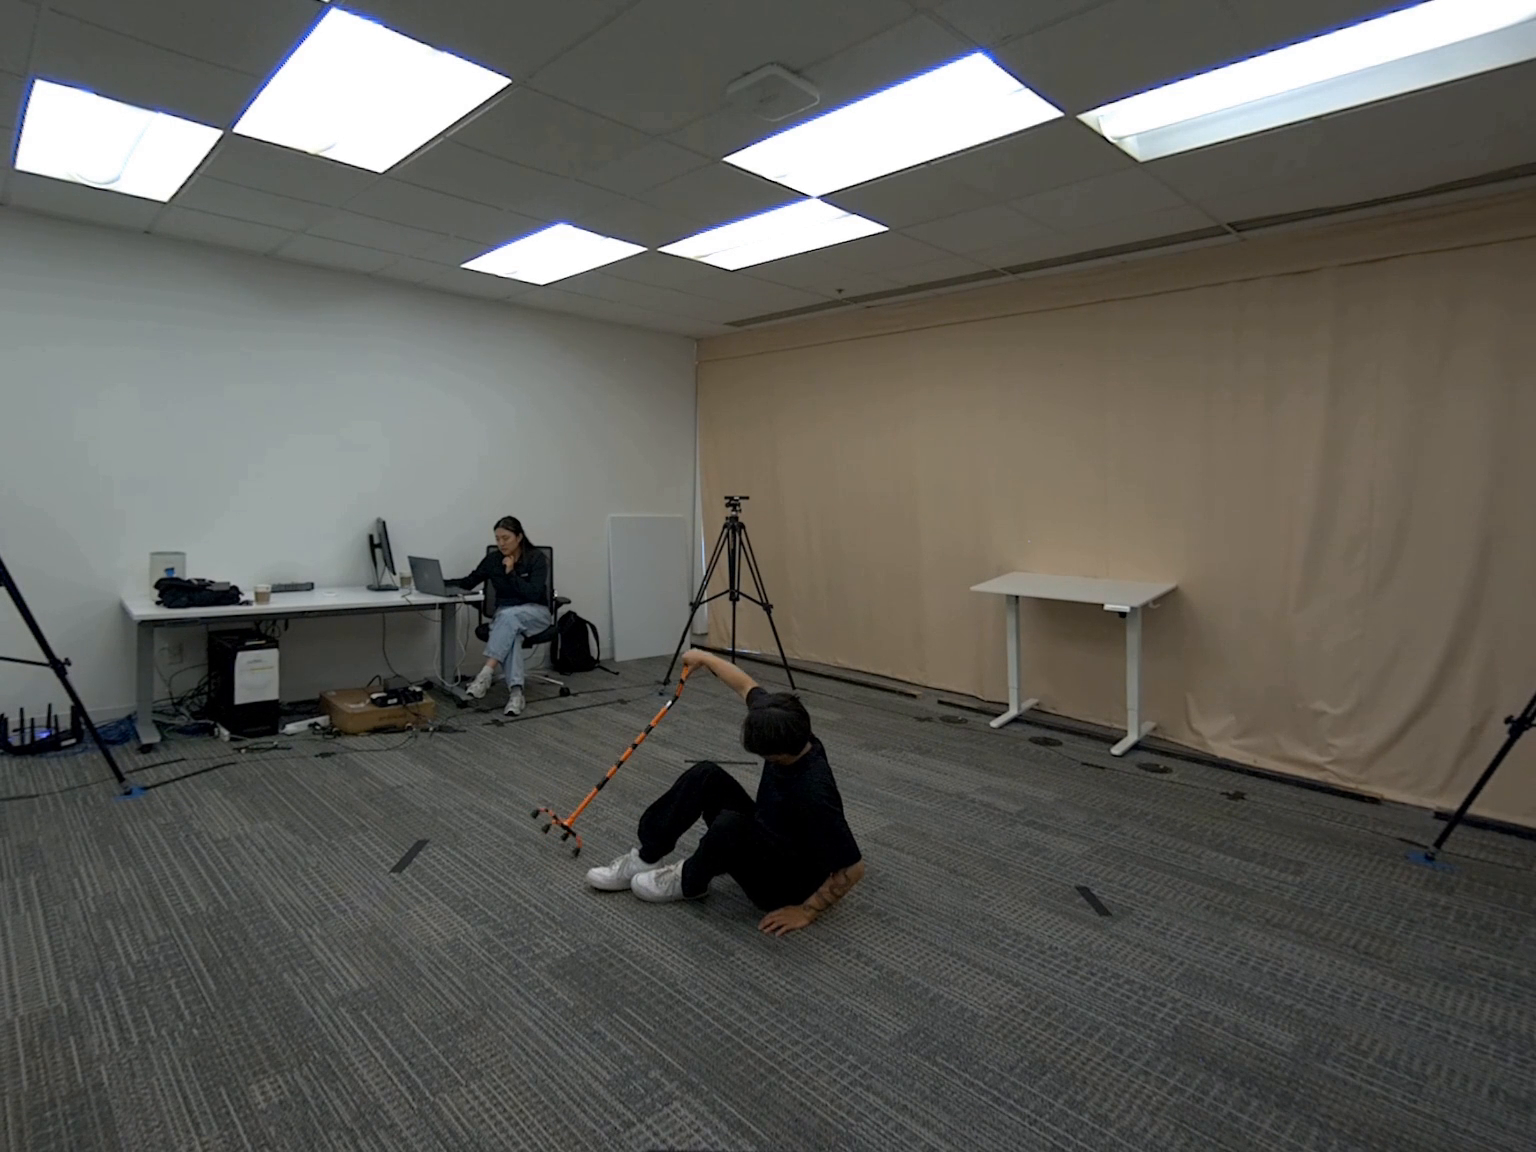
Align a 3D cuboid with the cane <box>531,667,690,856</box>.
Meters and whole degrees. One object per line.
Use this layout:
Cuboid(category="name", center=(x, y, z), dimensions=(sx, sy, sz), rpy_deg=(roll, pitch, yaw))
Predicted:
Cuboid(category="cane", center=(-0.536, 0.669, 3.346), dimensions=(0.201, 0.908, 0.156), rpy_deg=(50, -17, -31))
